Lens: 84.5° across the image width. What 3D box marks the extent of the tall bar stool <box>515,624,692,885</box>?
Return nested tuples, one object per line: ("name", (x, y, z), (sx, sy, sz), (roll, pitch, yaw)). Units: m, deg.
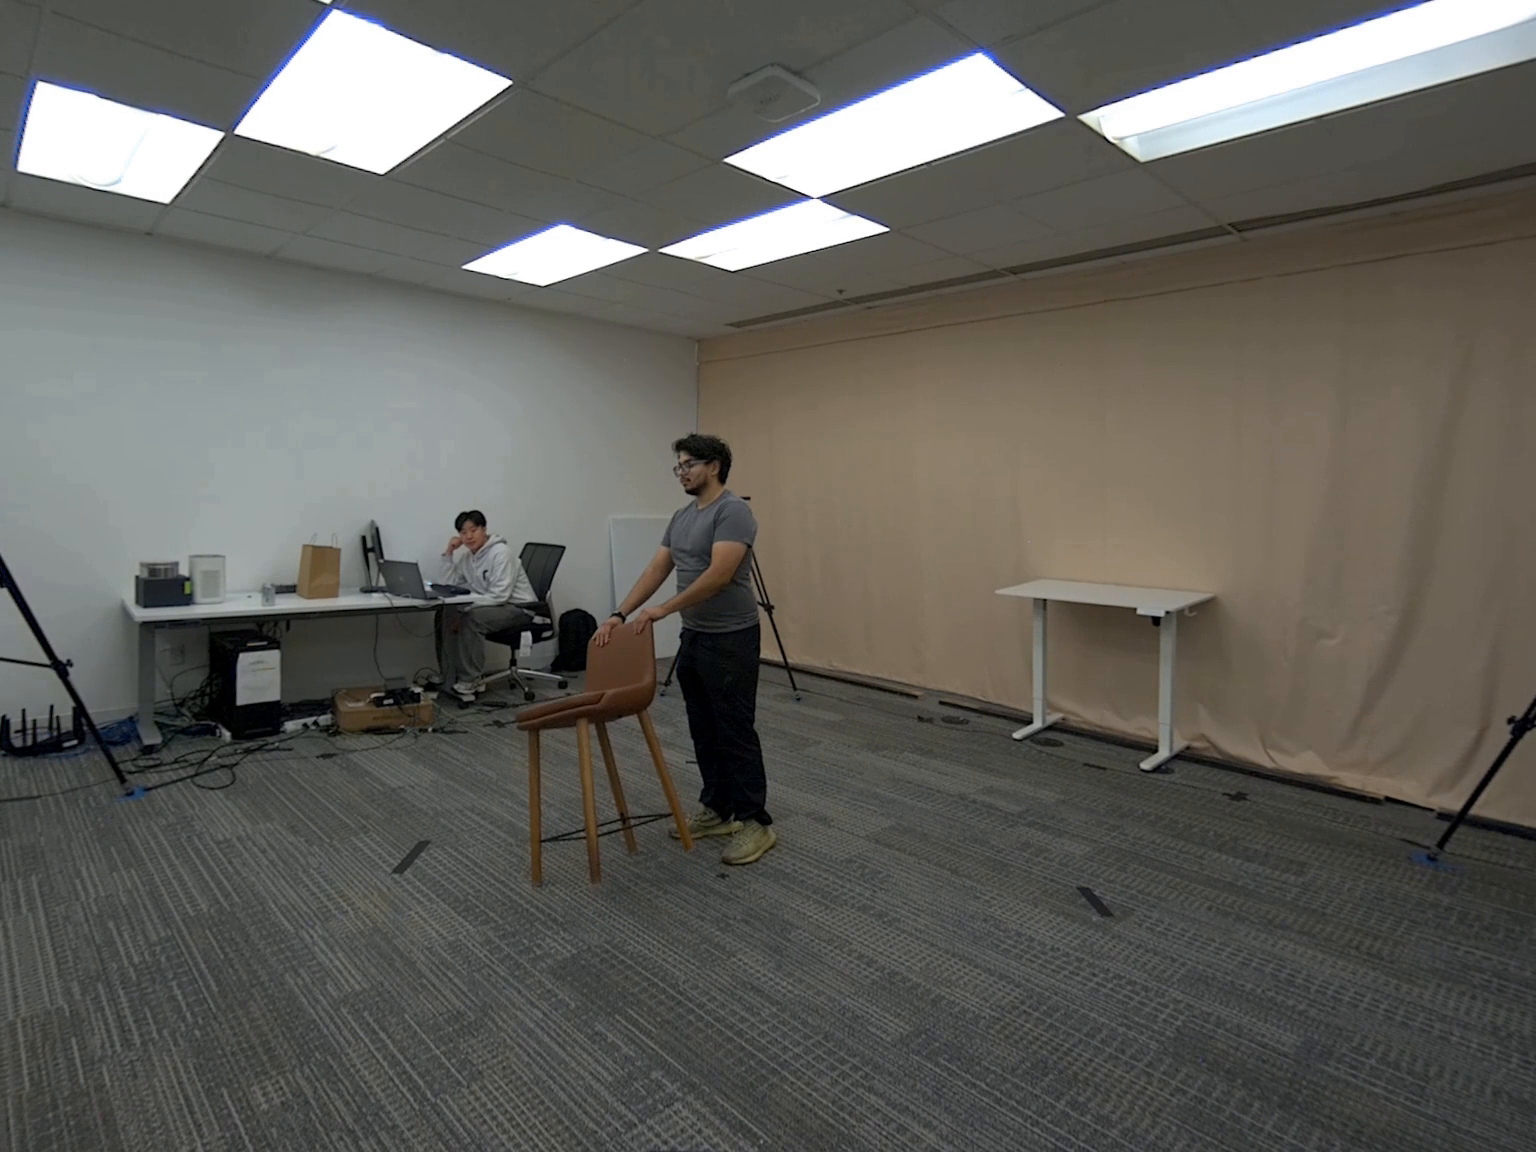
("tall bar stool", (-0.642, 0.624, 3.102), (0.456, 0.899, 0.463), (1, -17, -45))
